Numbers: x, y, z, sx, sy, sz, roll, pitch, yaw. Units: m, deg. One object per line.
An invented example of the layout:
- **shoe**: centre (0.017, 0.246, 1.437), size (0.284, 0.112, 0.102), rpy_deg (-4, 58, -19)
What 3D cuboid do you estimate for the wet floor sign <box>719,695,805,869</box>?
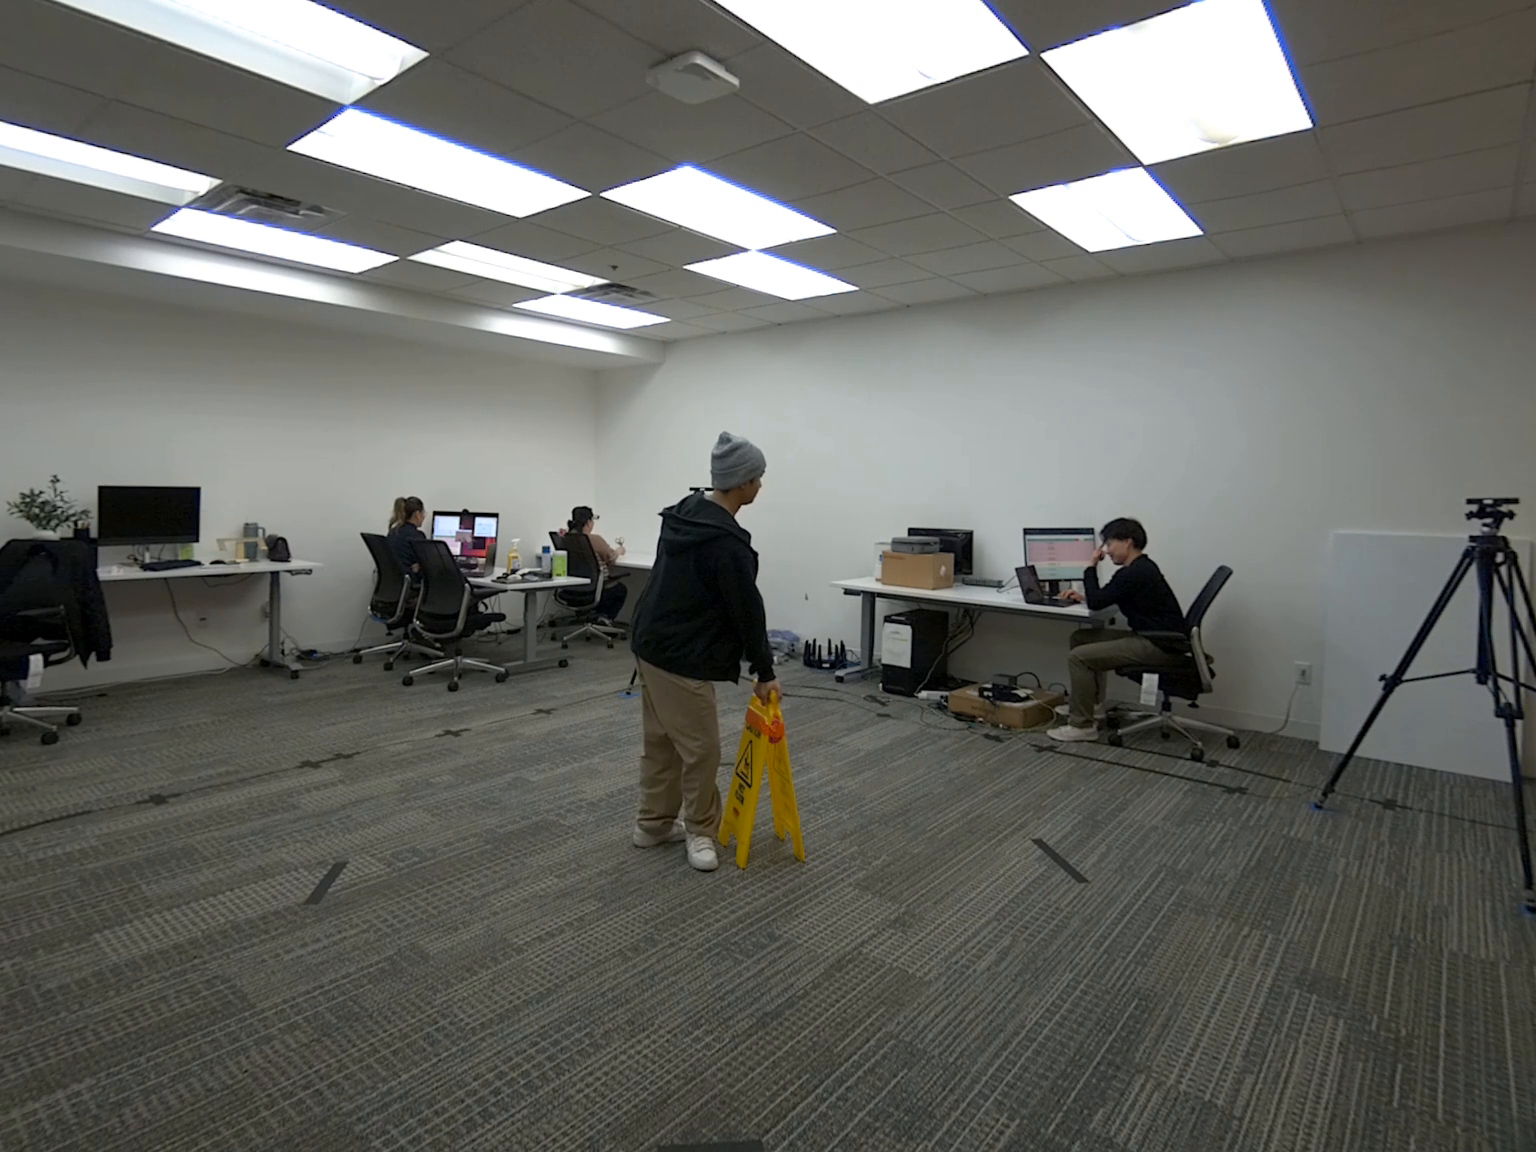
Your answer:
- **wet floor sign**: centre (-0.026, 0.728, 3.256), size (0.284, 0.643, 0.289), rpy_deg (1, 5, -20)
